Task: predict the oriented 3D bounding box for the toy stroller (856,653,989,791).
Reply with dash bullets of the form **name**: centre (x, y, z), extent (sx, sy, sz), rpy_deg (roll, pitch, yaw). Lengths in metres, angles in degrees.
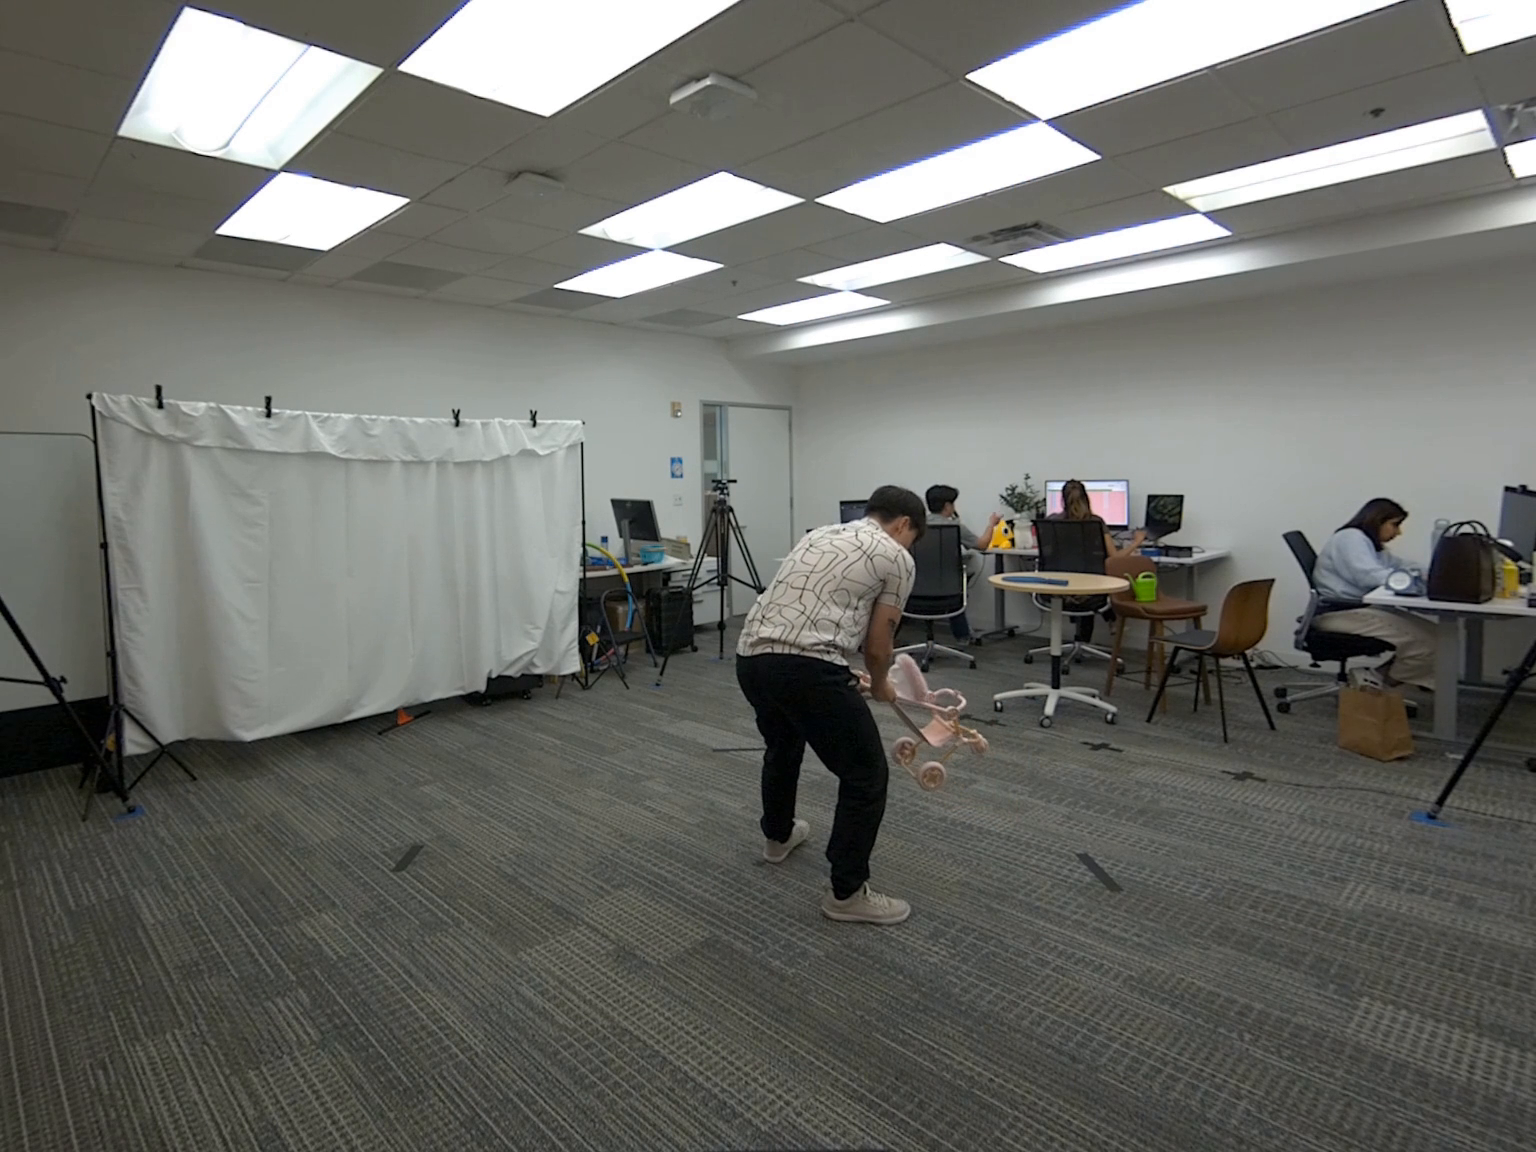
- **toy stroller**: centre (0.582, 0.518, 3.173), extent (0.341, 0.528, 0.285), rpy_deg (-30, 11, -3)
